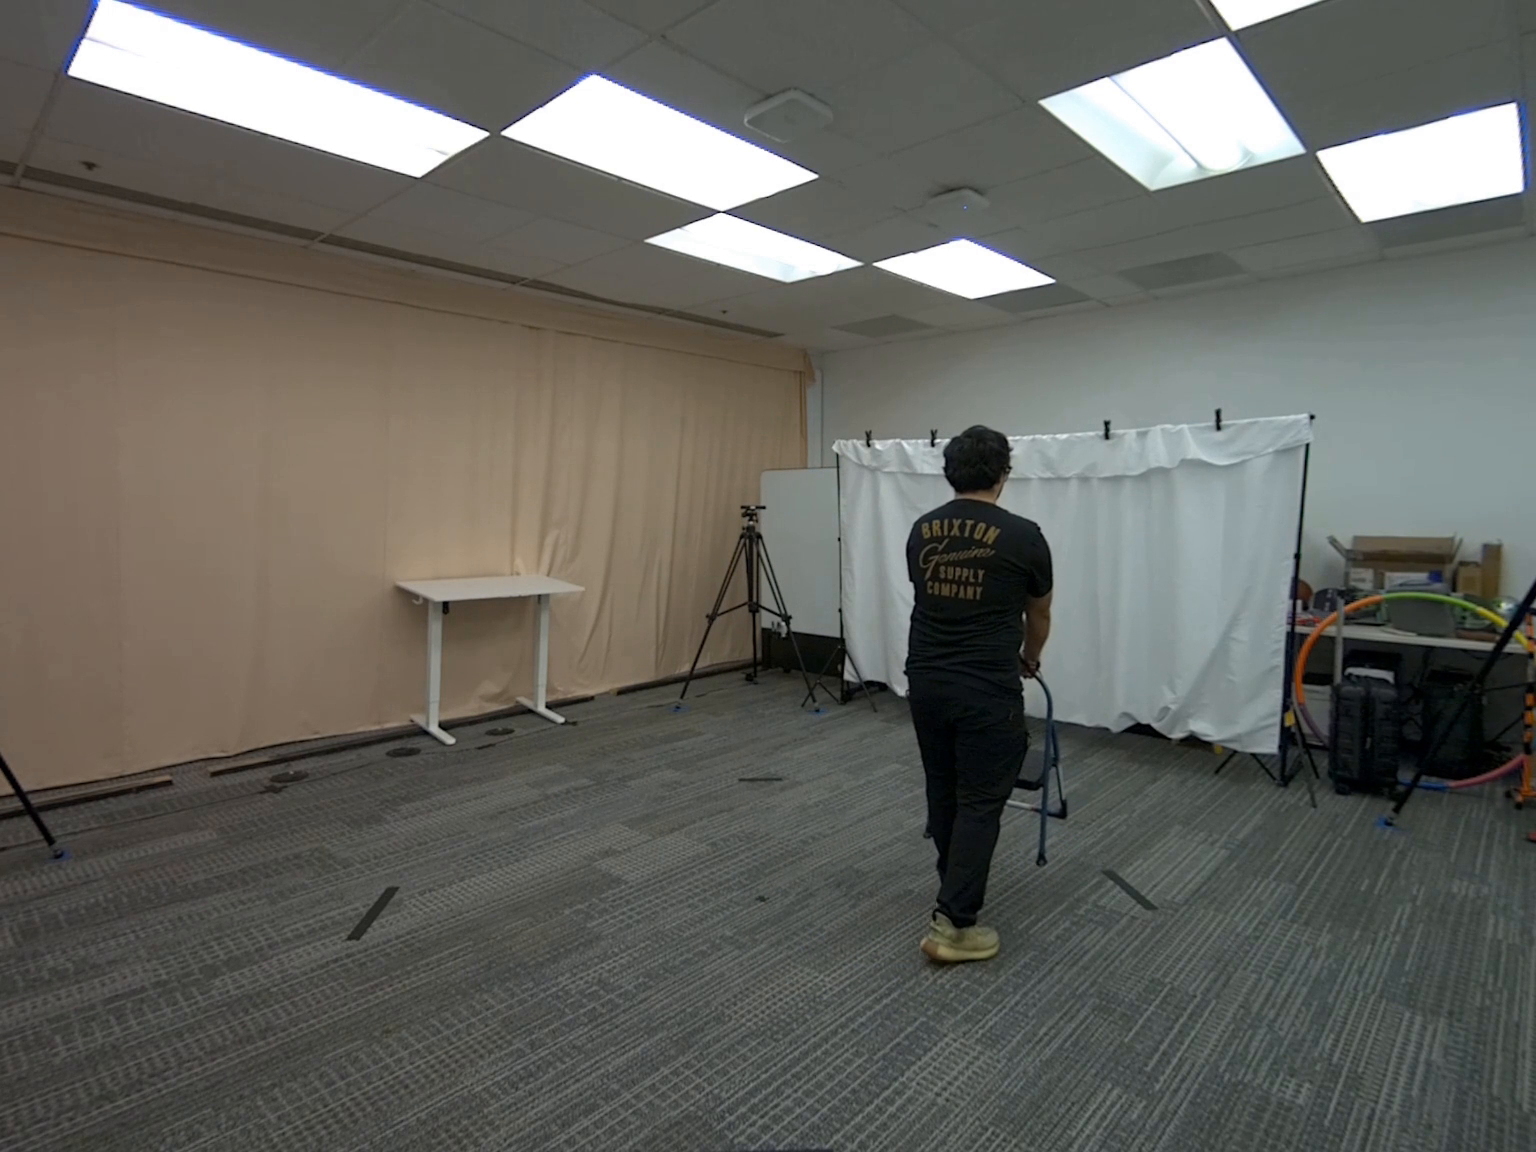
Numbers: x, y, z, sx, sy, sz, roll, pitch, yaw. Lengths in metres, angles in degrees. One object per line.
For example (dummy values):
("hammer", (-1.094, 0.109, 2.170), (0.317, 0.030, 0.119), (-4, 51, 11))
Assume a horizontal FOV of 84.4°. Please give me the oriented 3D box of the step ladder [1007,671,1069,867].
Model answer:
("step ladder", (0.813, 0.621, 3.006), (0.444, 0.601, 0.342), (2, 15, 33))
